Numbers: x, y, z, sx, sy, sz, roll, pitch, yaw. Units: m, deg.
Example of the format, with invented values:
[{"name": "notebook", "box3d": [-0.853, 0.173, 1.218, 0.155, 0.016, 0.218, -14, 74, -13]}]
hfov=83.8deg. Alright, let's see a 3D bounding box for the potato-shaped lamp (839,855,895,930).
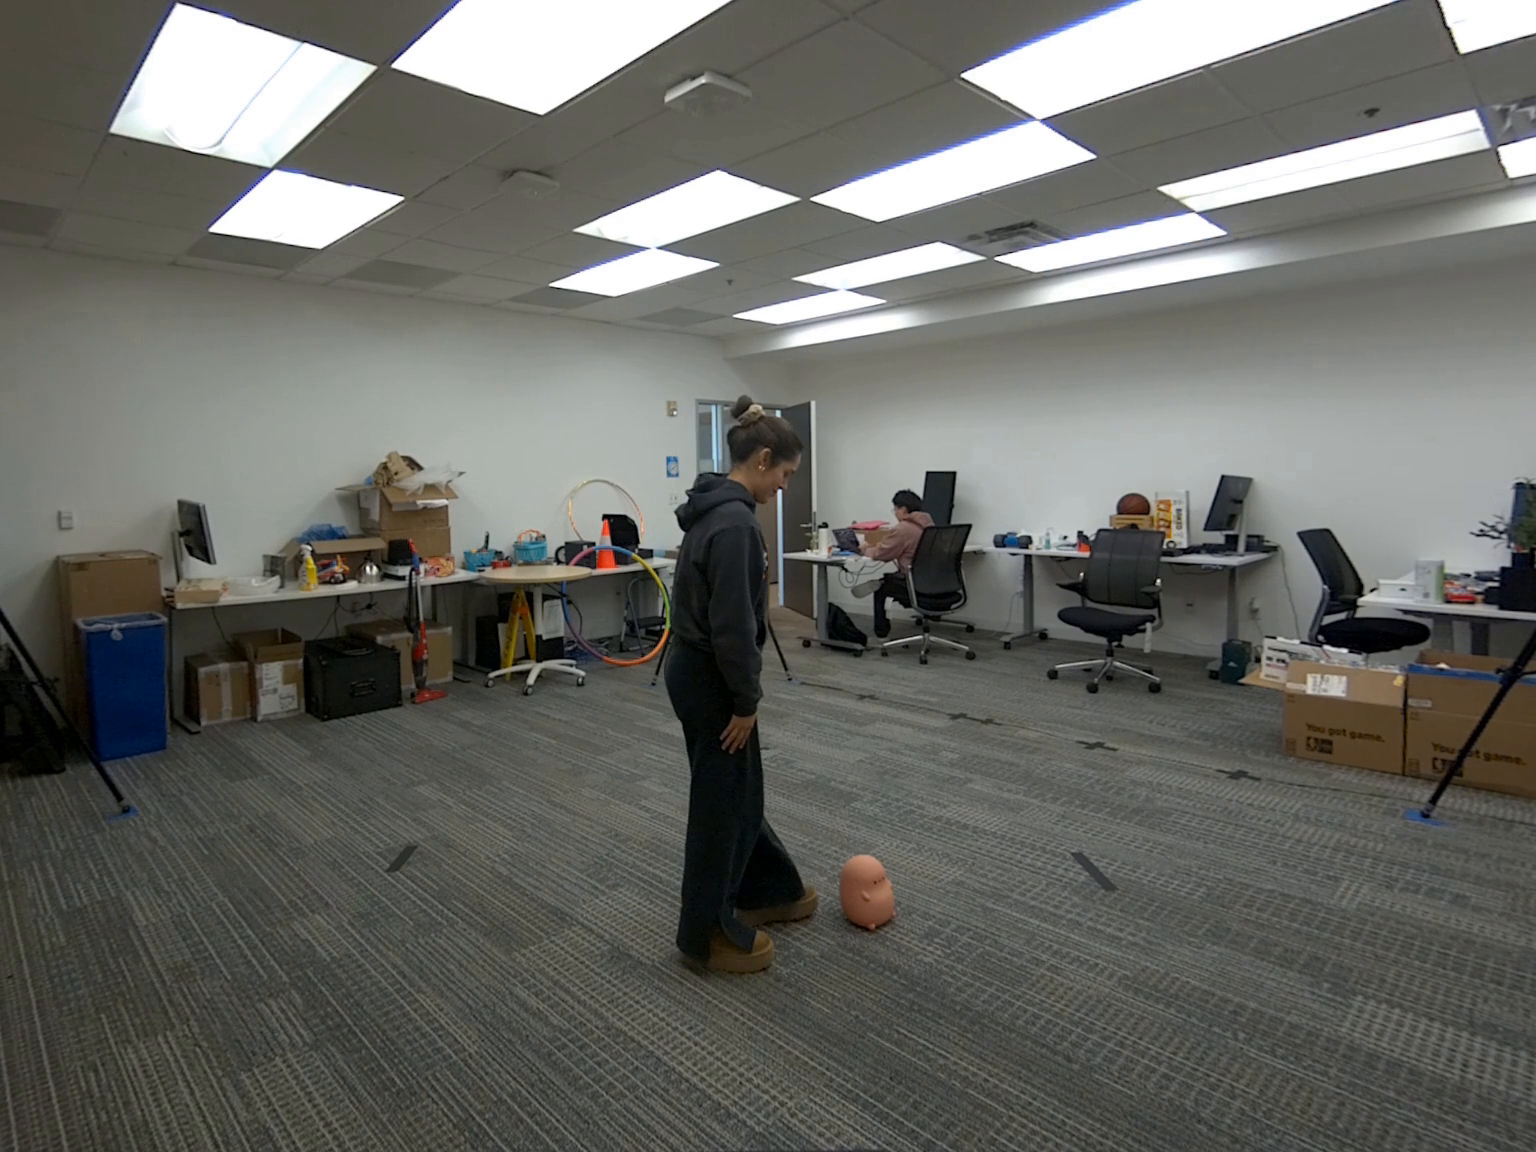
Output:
[{"name": "potato-shaped lamp", "box3d": [0.317, 0.988, 2.686, 0.161, 0.197, 0.176, -8, 8, -36]}]
